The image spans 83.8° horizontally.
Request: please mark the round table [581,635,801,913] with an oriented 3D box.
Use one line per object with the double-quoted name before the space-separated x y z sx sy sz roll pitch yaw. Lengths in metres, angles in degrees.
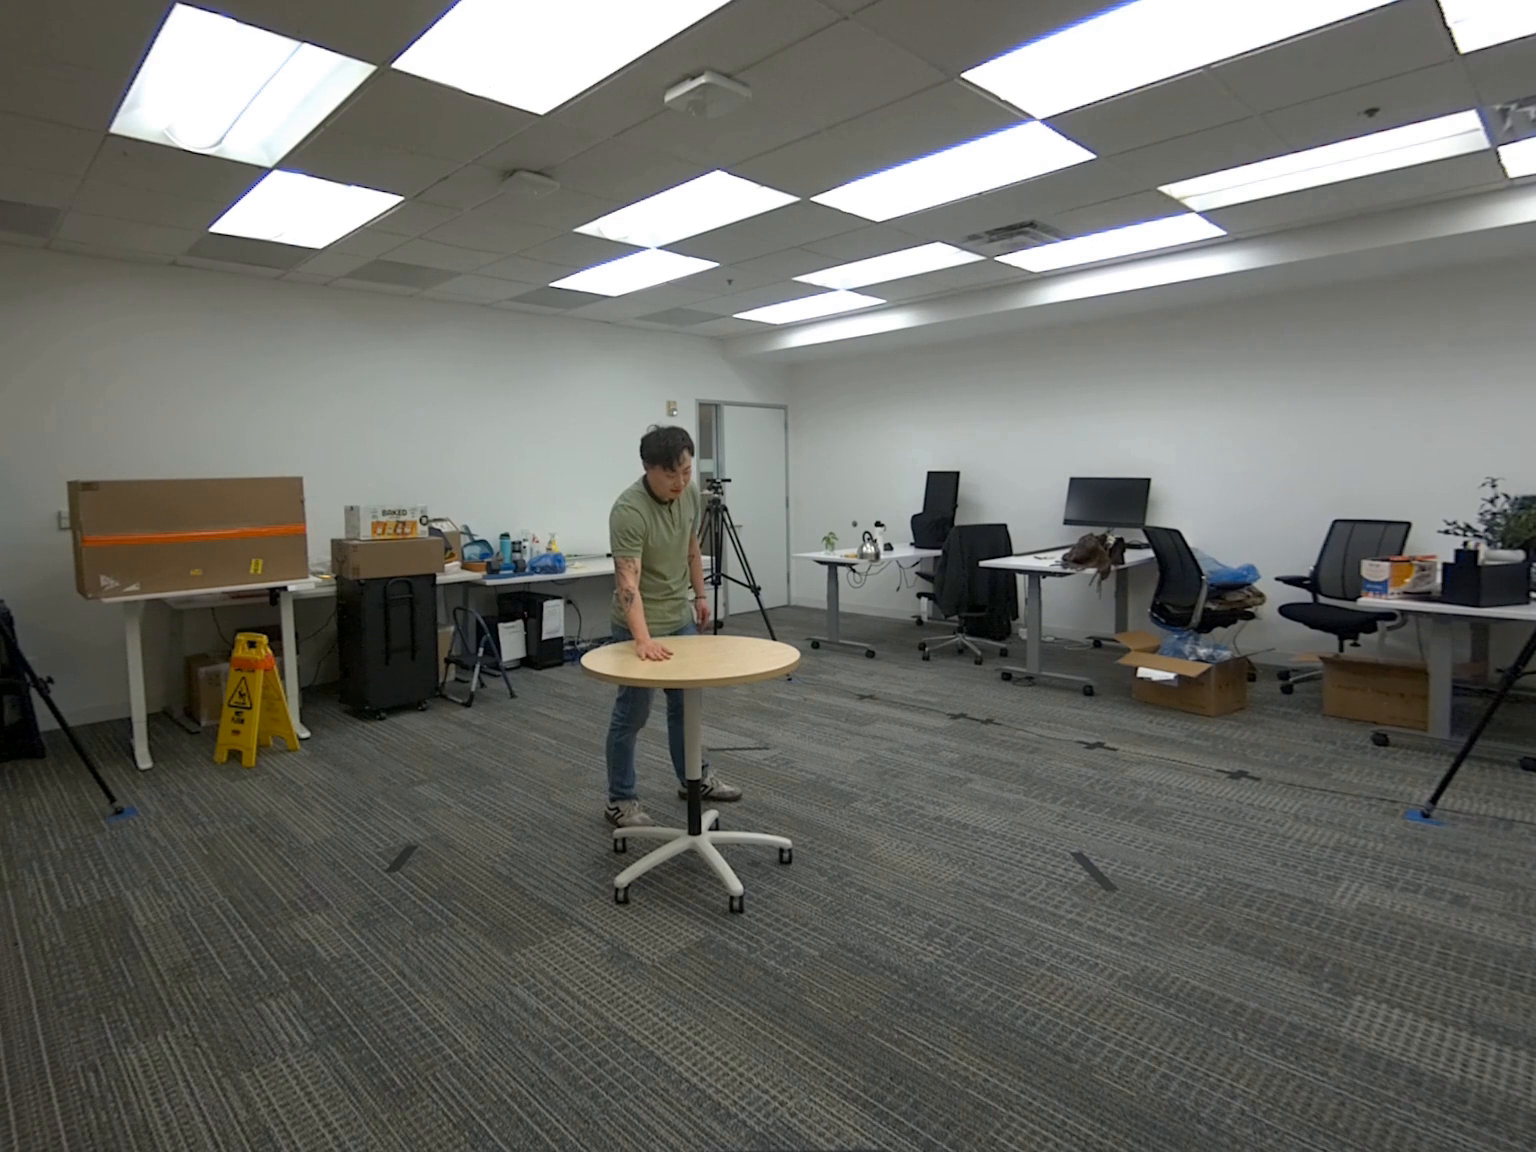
"round table" -0.260 0.668 3.021 0.763 0.791 0.768 -1 5 -2
